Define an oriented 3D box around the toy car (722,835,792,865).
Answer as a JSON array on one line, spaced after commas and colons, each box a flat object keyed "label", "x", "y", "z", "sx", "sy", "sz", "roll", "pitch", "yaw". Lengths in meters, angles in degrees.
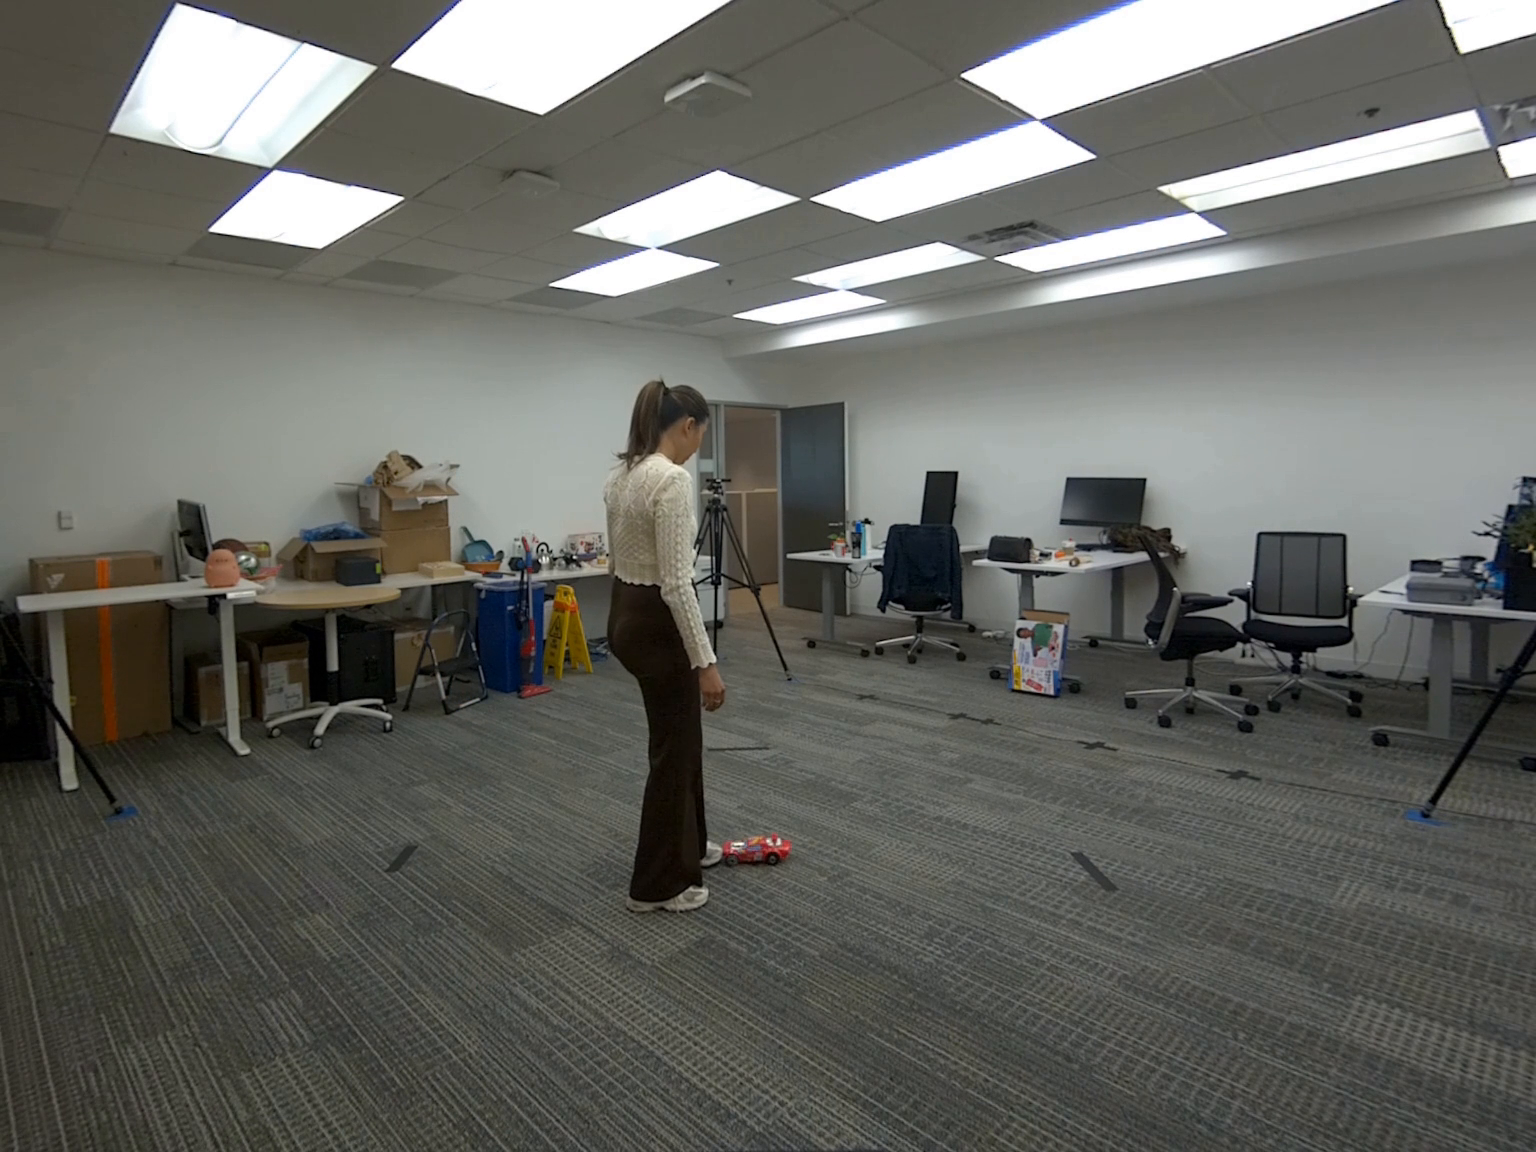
[{"label": "toy car", "x": -0.031, "y": 1.007, "z": 3.130, "sx": 0.255, "sy": 0.083, "sz": 0.131, "roll": -13, "pitch": 5, "yaw": 0}]
